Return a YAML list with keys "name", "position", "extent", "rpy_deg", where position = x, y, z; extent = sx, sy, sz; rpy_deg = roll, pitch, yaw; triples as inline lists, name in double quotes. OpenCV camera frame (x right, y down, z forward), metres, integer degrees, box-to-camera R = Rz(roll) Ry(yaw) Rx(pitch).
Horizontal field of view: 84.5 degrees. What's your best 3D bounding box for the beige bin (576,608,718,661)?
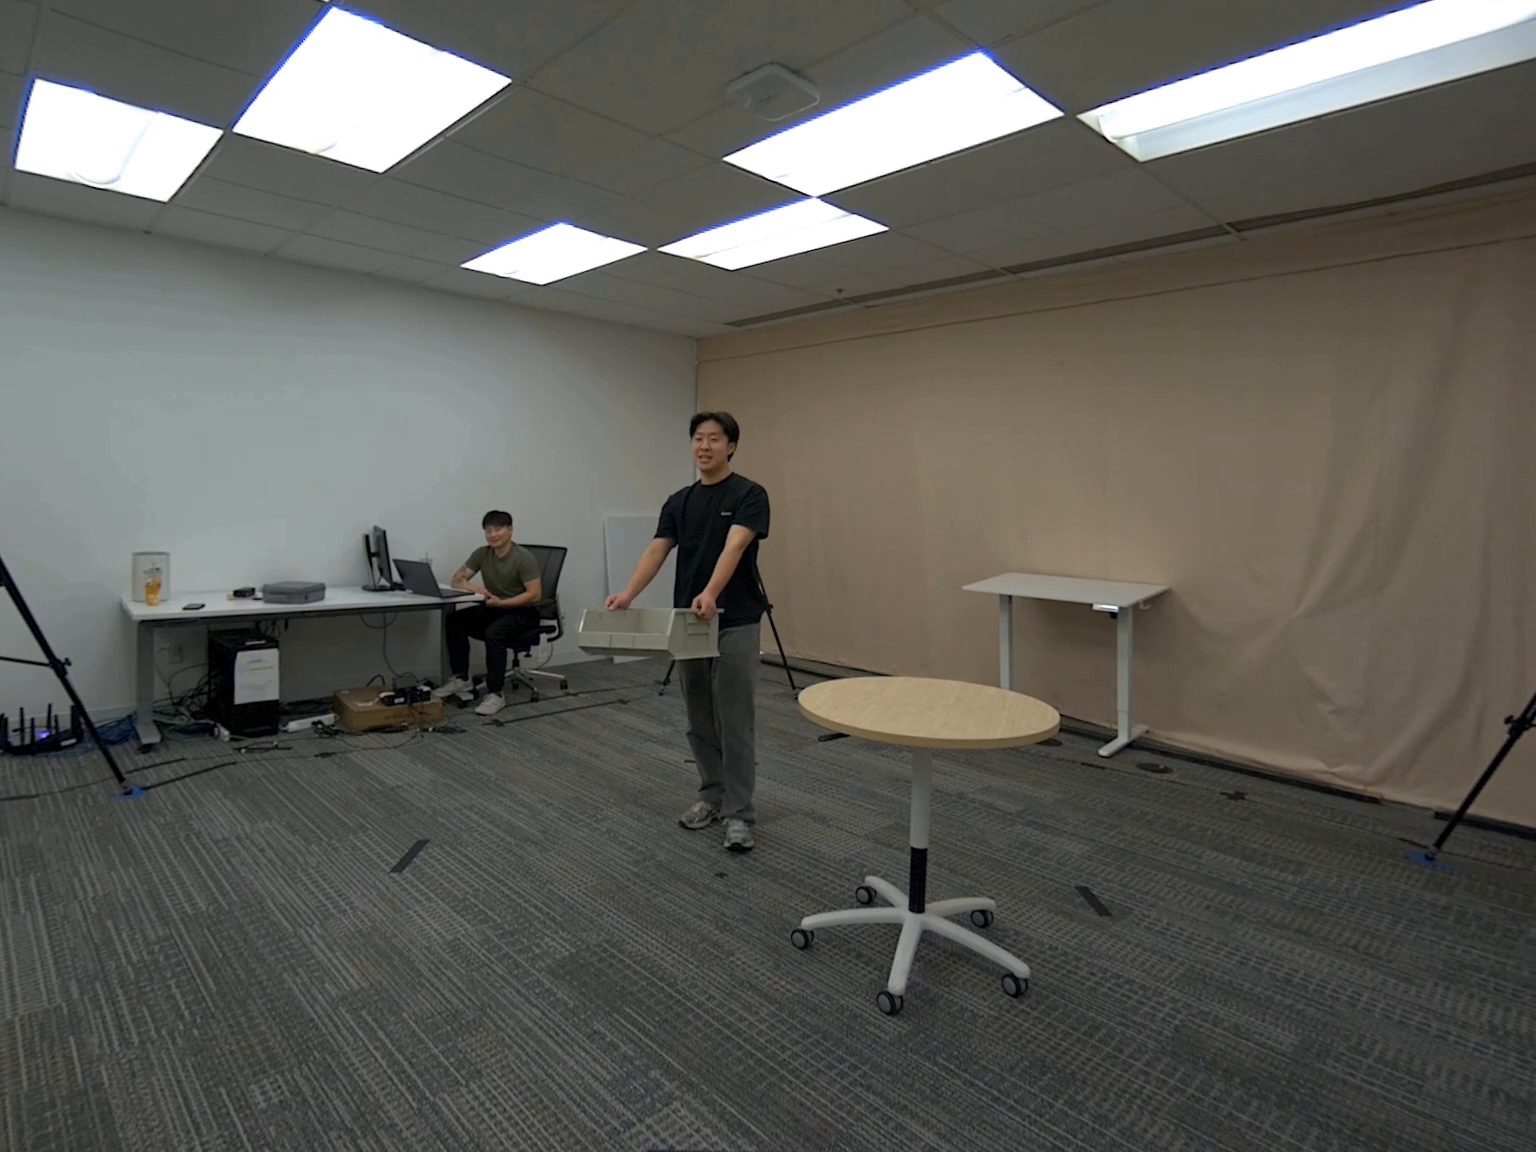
- name: "beige bin"
  position: [-0.450, 0.215, 3.178]
  extent: [0.430, 0.190, 0.368]
  rpy_deg: [-1, -5, 29]
